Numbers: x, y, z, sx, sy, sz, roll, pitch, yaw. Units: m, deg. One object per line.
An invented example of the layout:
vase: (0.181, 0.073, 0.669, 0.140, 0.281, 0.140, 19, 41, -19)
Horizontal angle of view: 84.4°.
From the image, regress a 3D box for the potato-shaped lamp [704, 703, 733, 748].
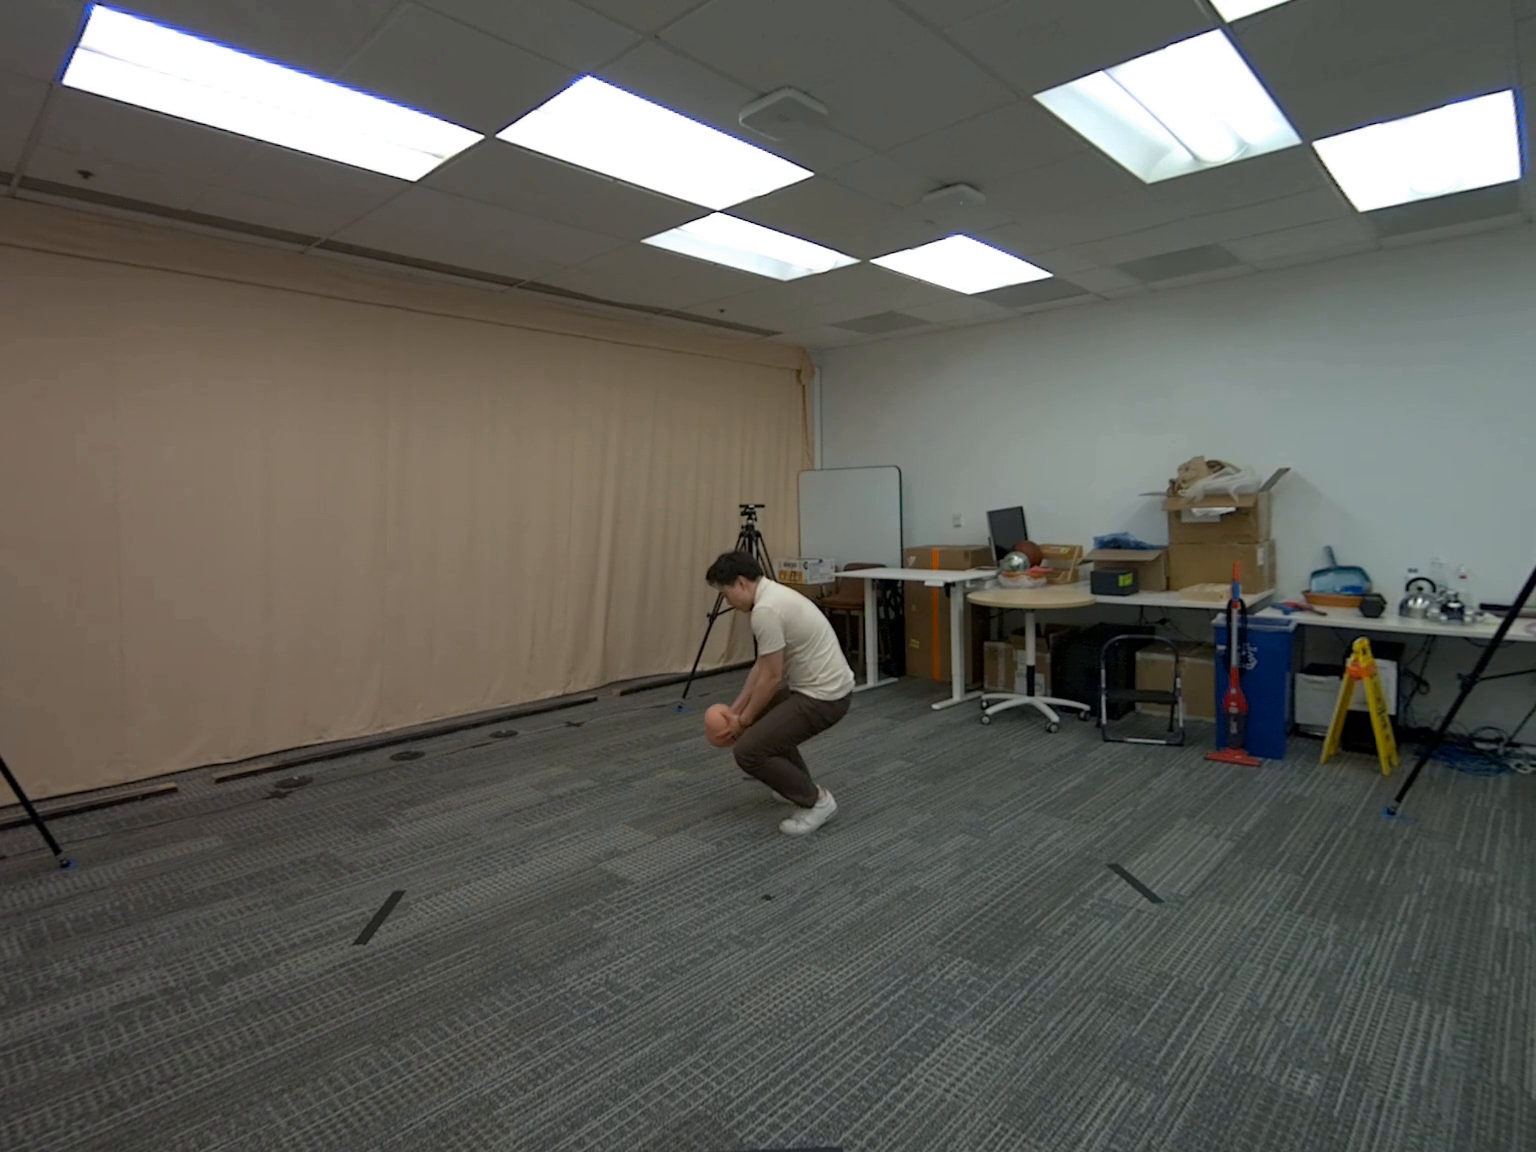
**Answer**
potato-shaped lamp: (-0.208, 0.664, 3.788, 0.177, 0.193, 0.163, 8, 42, 44)
